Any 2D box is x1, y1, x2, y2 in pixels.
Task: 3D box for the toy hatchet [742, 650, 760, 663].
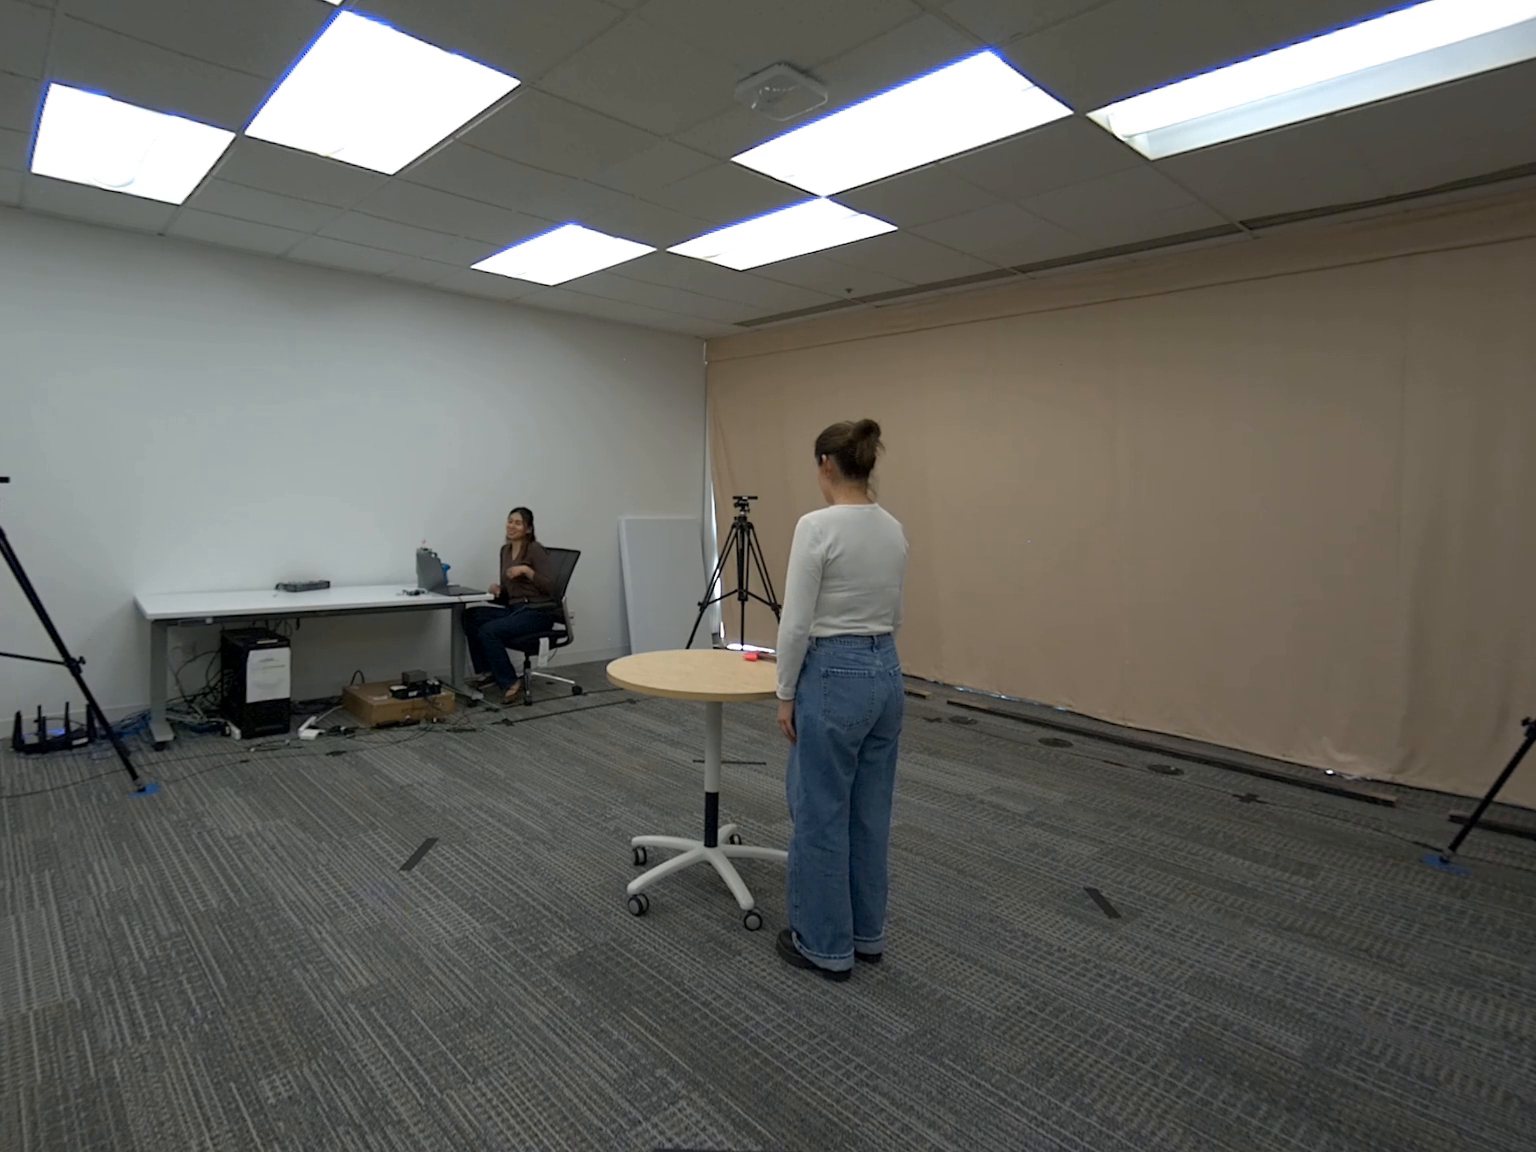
[{"bbox_3d":[-0.007,0.317,3.113,0.129,0.029,0.276,-2,7,-24],"label":"toy hatchet"}]
